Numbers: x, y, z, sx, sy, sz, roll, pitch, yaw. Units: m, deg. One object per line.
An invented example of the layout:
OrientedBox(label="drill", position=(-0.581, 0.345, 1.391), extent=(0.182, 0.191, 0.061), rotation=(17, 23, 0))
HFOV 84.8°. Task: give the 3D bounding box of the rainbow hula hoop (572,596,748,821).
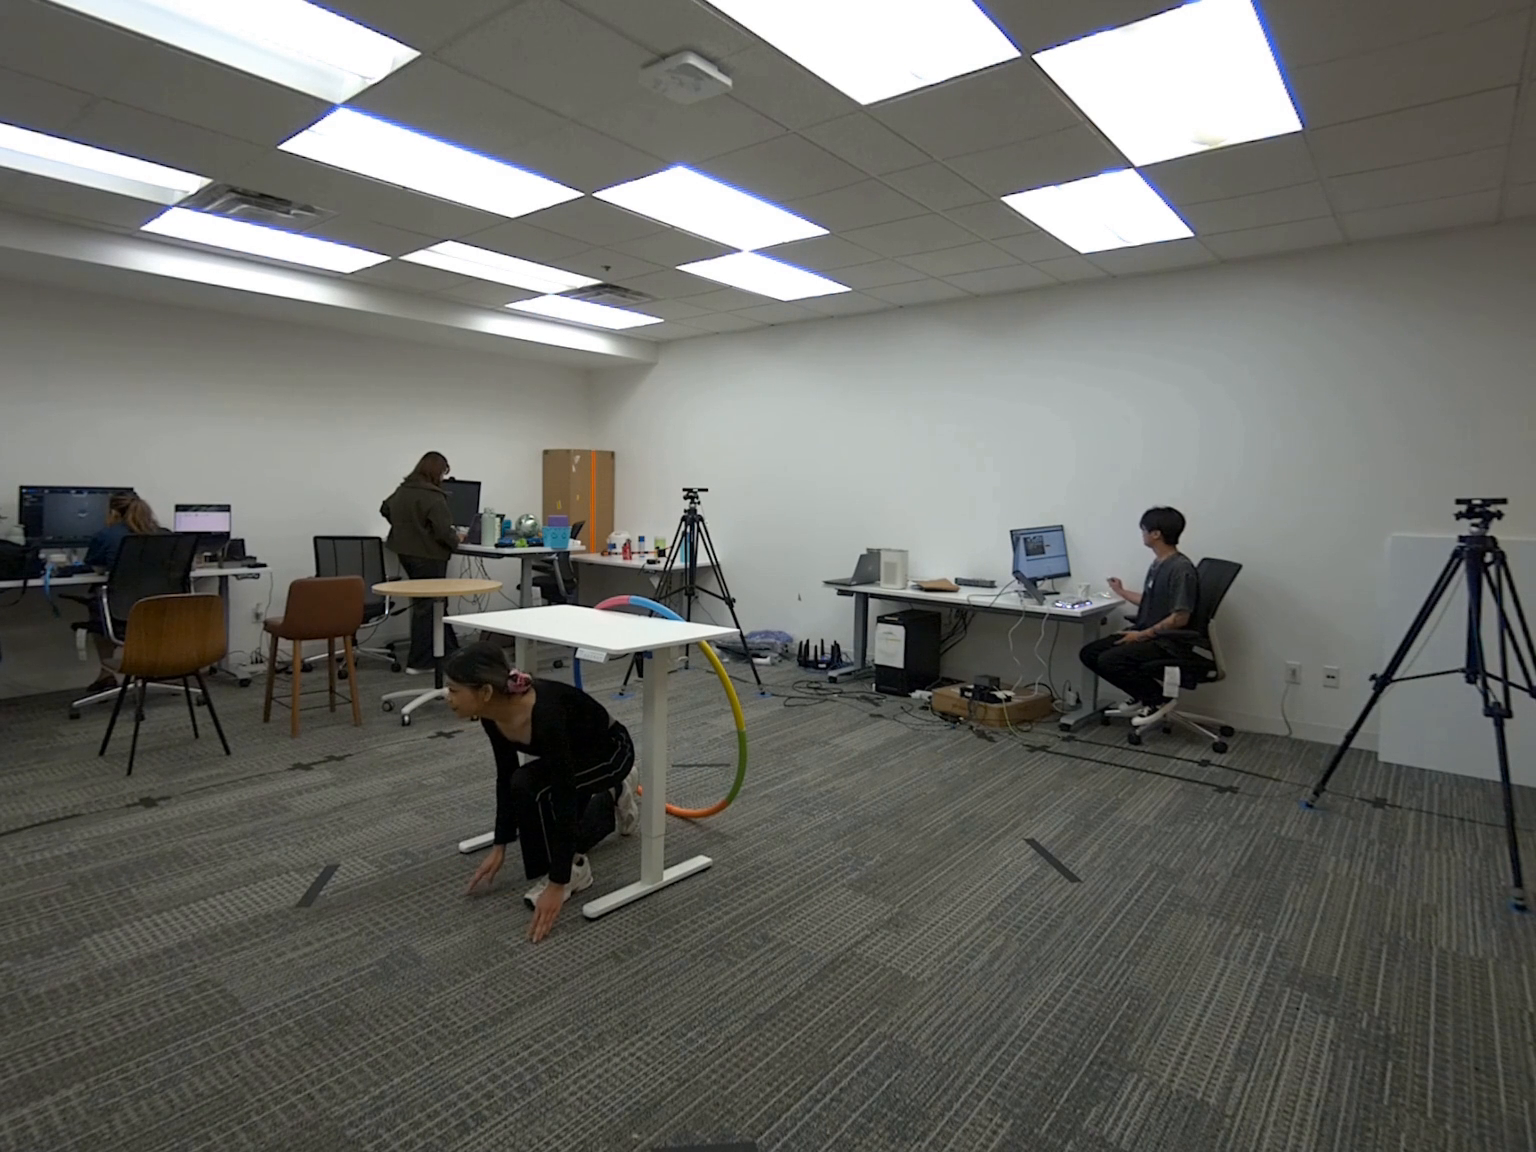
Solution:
OrientedBox(label="rainbow hula hoop", position=(-0.483, 0.551, 3.530), extent=(1.011, 0.963, 0.035), rotation=(4, 19, 39))
